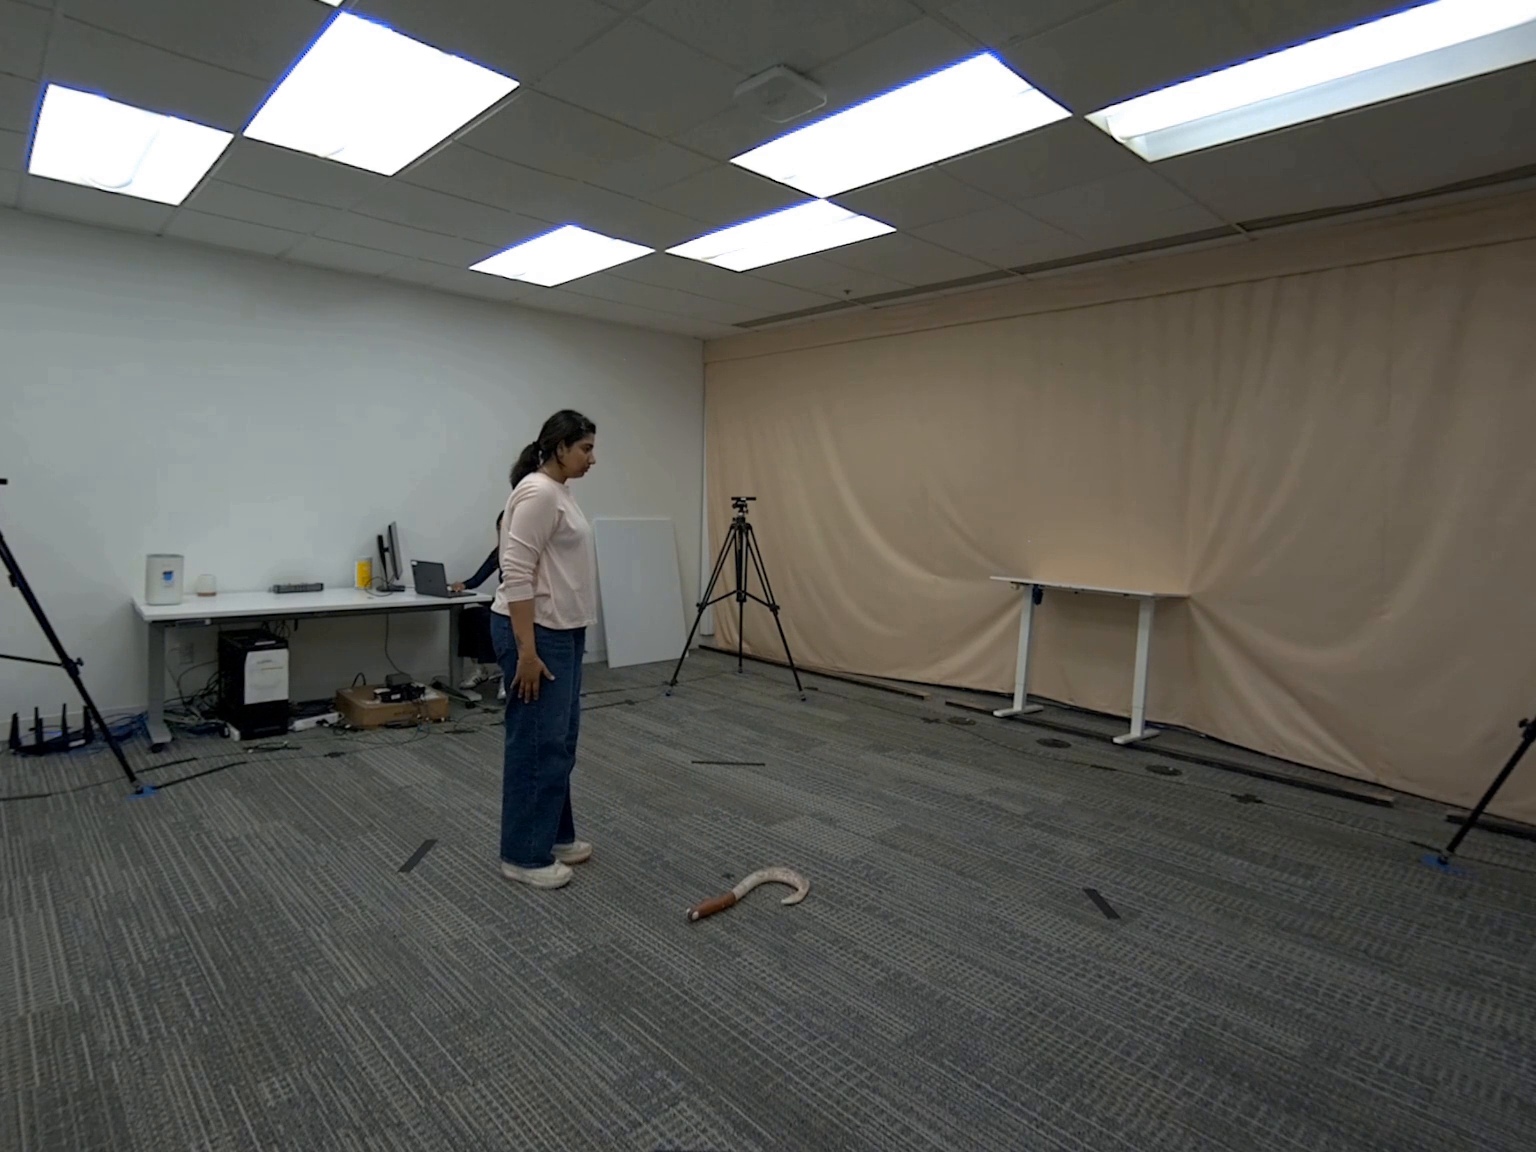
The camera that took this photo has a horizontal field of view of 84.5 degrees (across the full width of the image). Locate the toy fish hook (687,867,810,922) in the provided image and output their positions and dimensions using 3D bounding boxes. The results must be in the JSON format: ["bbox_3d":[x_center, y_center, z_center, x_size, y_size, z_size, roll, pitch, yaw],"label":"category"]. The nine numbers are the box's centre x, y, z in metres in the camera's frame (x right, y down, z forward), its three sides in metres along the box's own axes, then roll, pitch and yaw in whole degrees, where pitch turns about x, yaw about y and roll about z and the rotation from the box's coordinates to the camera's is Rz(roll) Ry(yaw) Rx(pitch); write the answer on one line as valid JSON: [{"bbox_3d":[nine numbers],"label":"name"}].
[{"bbox_3d":[-0.060,1.105,2.890,0.230,0.048,0.495,3,5,43],"label":"toy fish hook"}]
